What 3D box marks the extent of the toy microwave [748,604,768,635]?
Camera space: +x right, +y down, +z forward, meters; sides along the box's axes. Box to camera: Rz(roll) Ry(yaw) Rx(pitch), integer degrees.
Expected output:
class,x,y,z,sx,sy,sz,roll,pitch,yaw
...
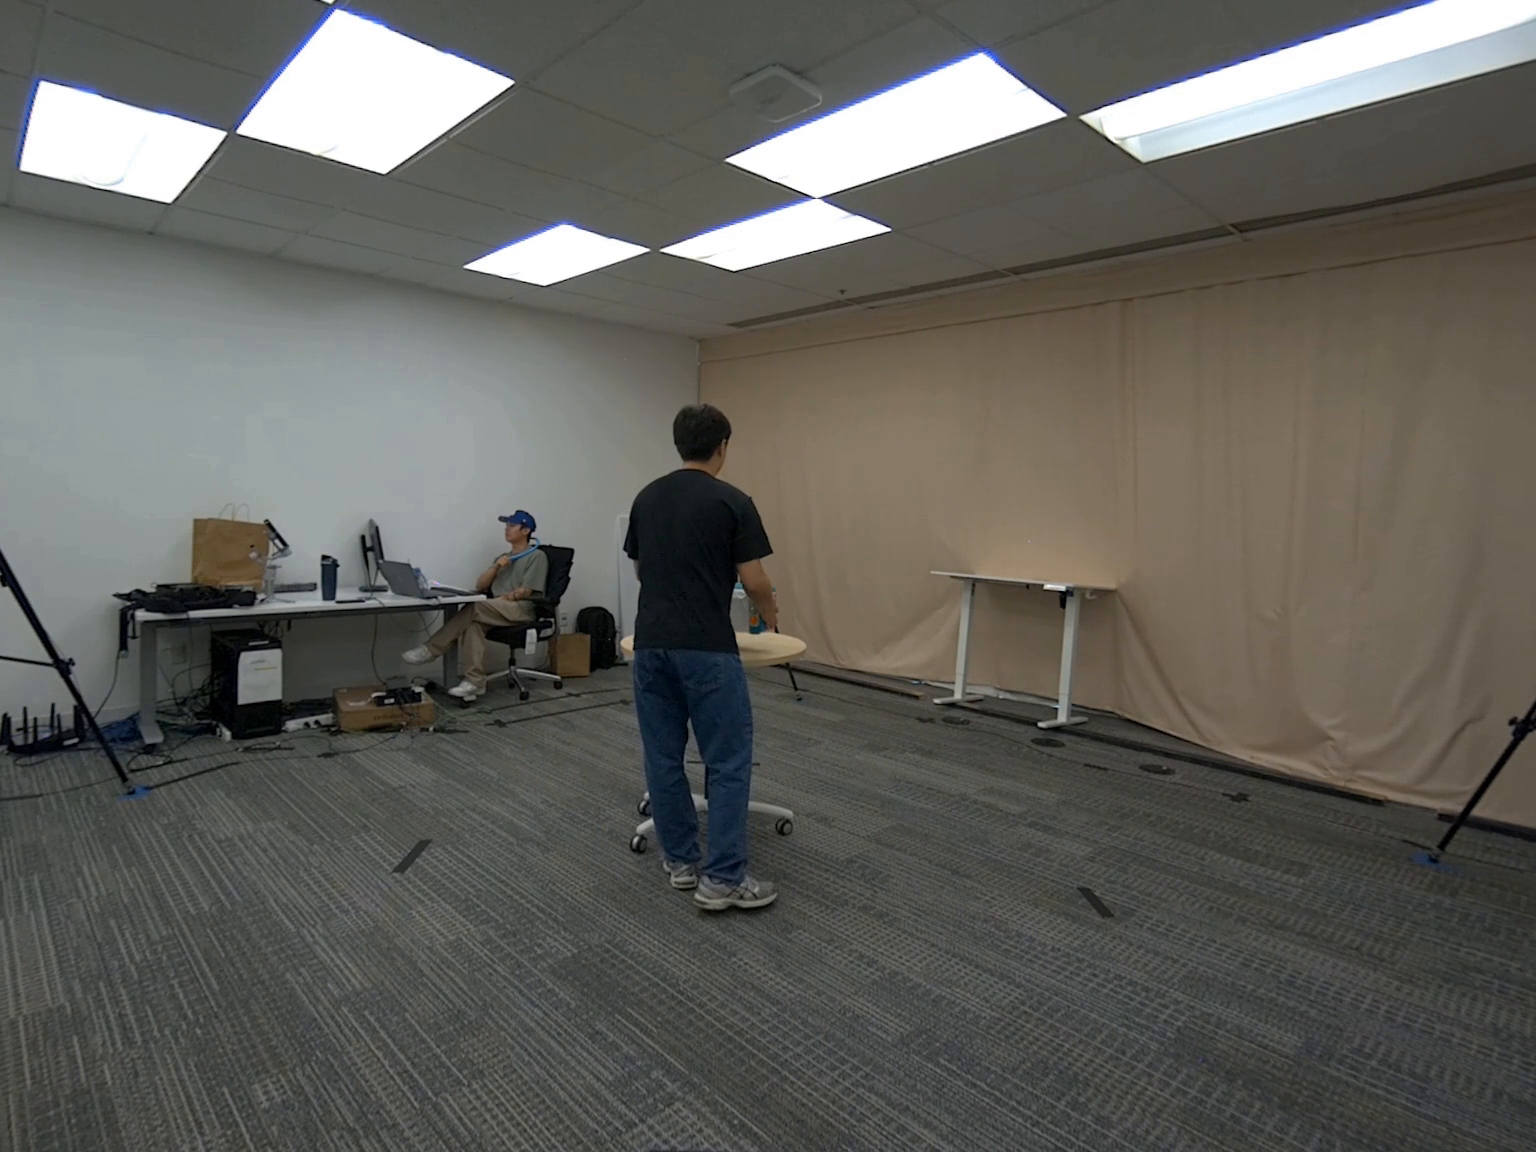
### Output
class,x,y,z,sx,sy,sz,roll,pitch,yaw
toy microwave,-0.128,0.131,3.334,0.292,0.184,0.149,4,4,28
